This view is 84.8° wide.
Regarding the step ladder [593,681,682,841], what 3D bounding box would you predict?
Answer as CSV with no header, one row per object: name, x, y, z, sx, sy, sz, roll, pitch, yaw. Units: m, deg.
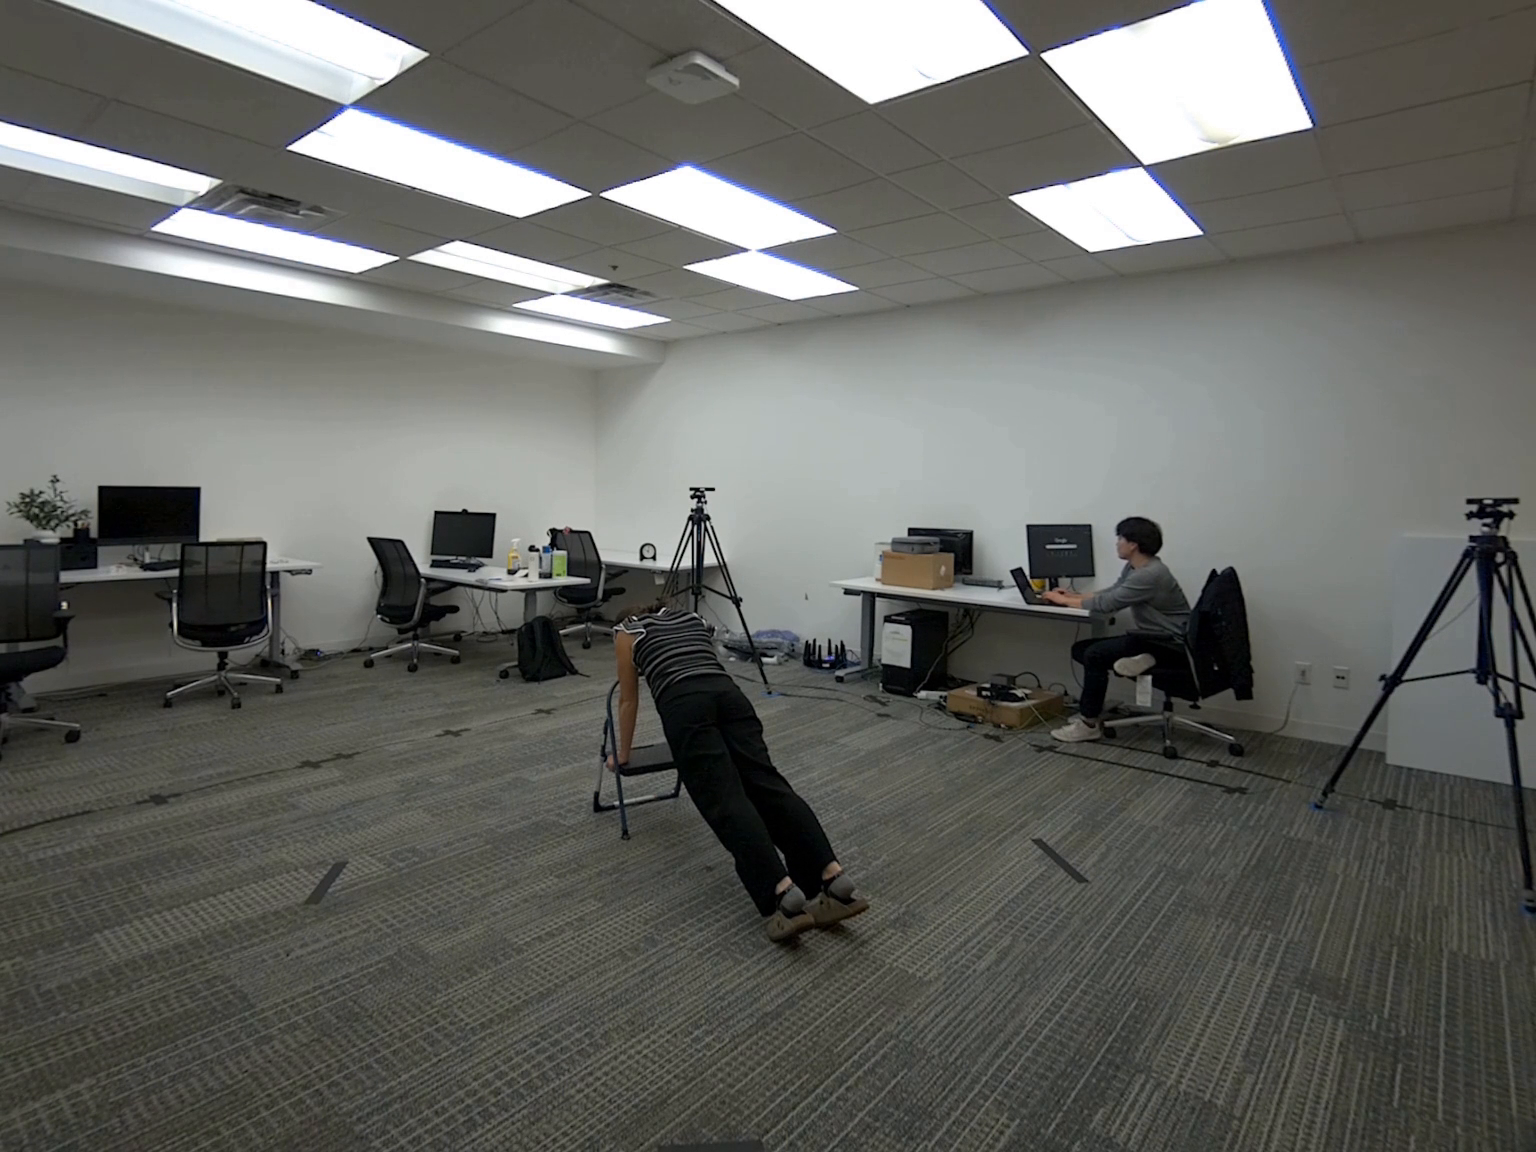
step ladder,-0.496,0.713,3.594,0.418,0.605,0.360,-1,3,-33
